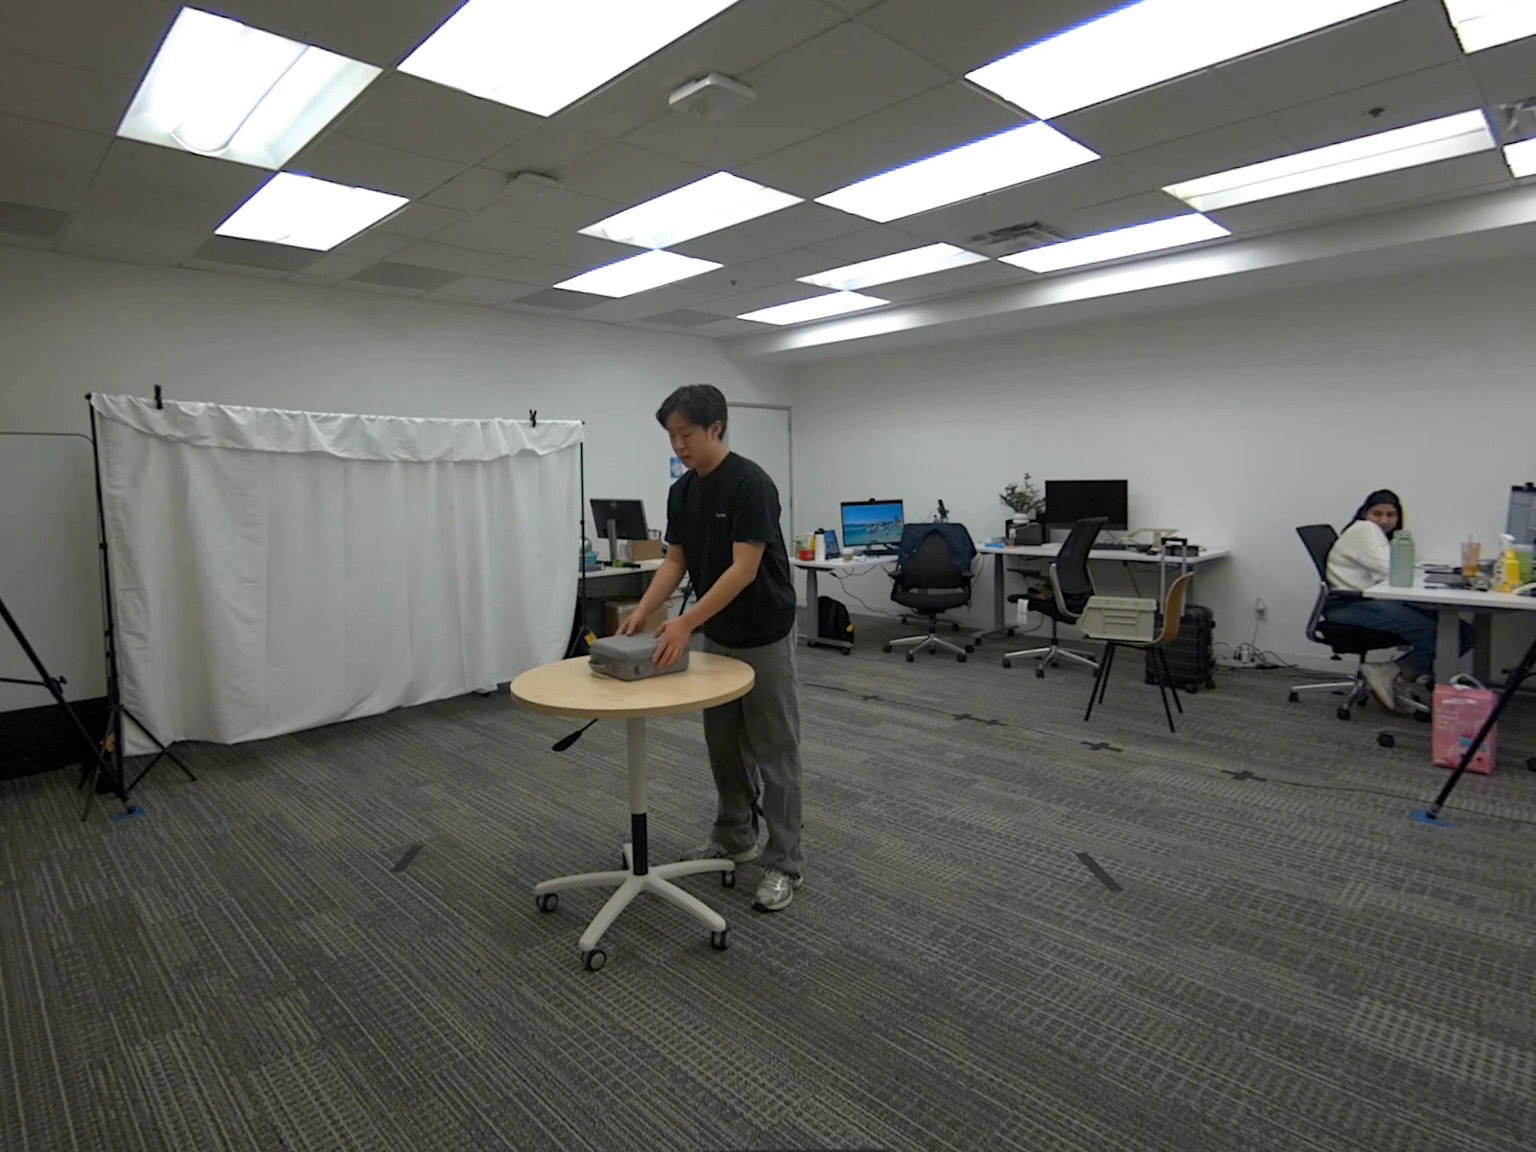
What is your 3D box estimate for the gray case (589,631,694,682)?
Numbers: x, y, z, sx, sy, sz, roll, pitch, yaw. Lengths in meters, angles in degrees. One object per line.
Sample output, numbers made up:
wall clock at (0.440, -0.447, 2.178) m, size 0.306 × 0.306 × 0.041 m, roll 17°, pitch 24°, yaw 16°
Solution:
gray case at (-0.426, 0.260, 2.775) m, size 0.280 × 0.102 × 0.271 m, roll -8°, pitch 9°, yaw -37°
